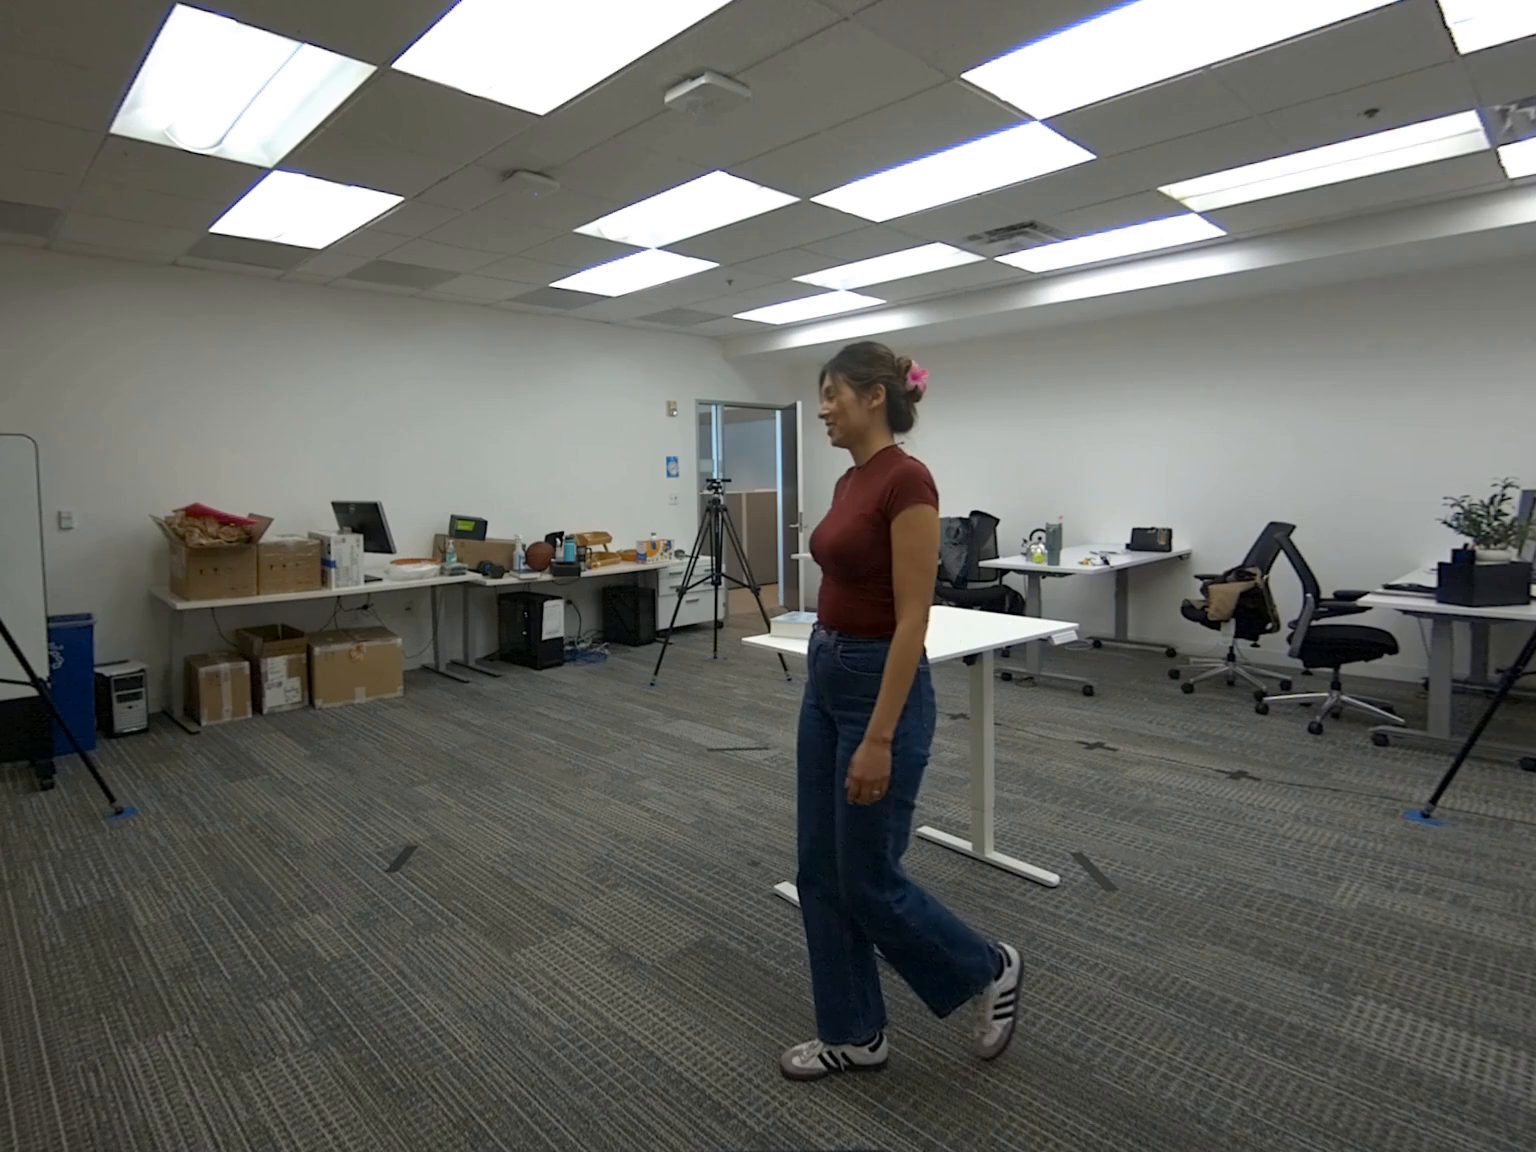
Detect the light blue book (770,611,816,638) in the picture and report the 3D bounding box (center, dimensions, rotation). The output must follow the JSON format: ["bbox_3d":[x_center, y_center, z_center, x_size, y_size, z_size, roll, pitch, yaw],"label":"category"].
[{"bbox_3d":[0.167,0.165,2.806,0.268,0.059,0.187,3,8,30],"label":"light blue book"}]
